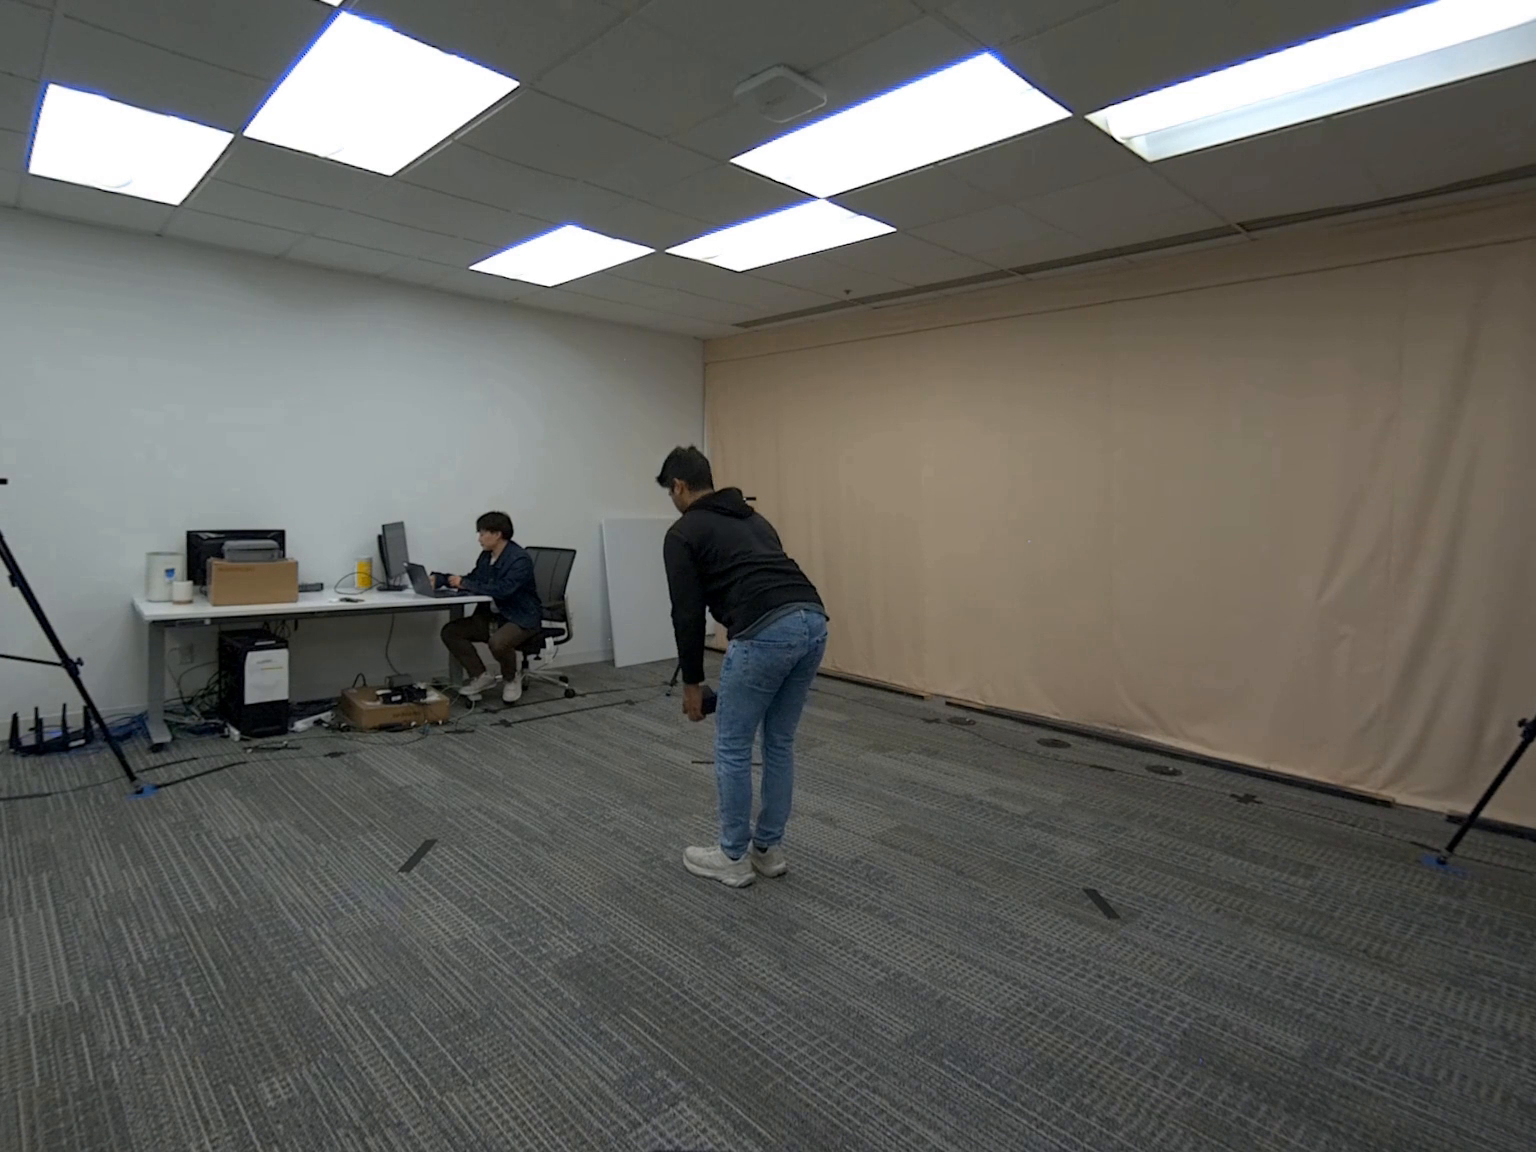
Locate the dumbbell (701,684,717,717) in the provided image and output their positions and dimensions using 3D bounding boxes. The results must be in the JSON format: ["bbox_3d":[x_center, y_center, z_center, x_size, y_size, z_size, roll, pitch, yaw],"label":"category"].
[{"bbox_3d":[-0.170,0.473,3.224,0.287,0.108,0.127,-2,38,-39],"label":"dumbbell"}]
